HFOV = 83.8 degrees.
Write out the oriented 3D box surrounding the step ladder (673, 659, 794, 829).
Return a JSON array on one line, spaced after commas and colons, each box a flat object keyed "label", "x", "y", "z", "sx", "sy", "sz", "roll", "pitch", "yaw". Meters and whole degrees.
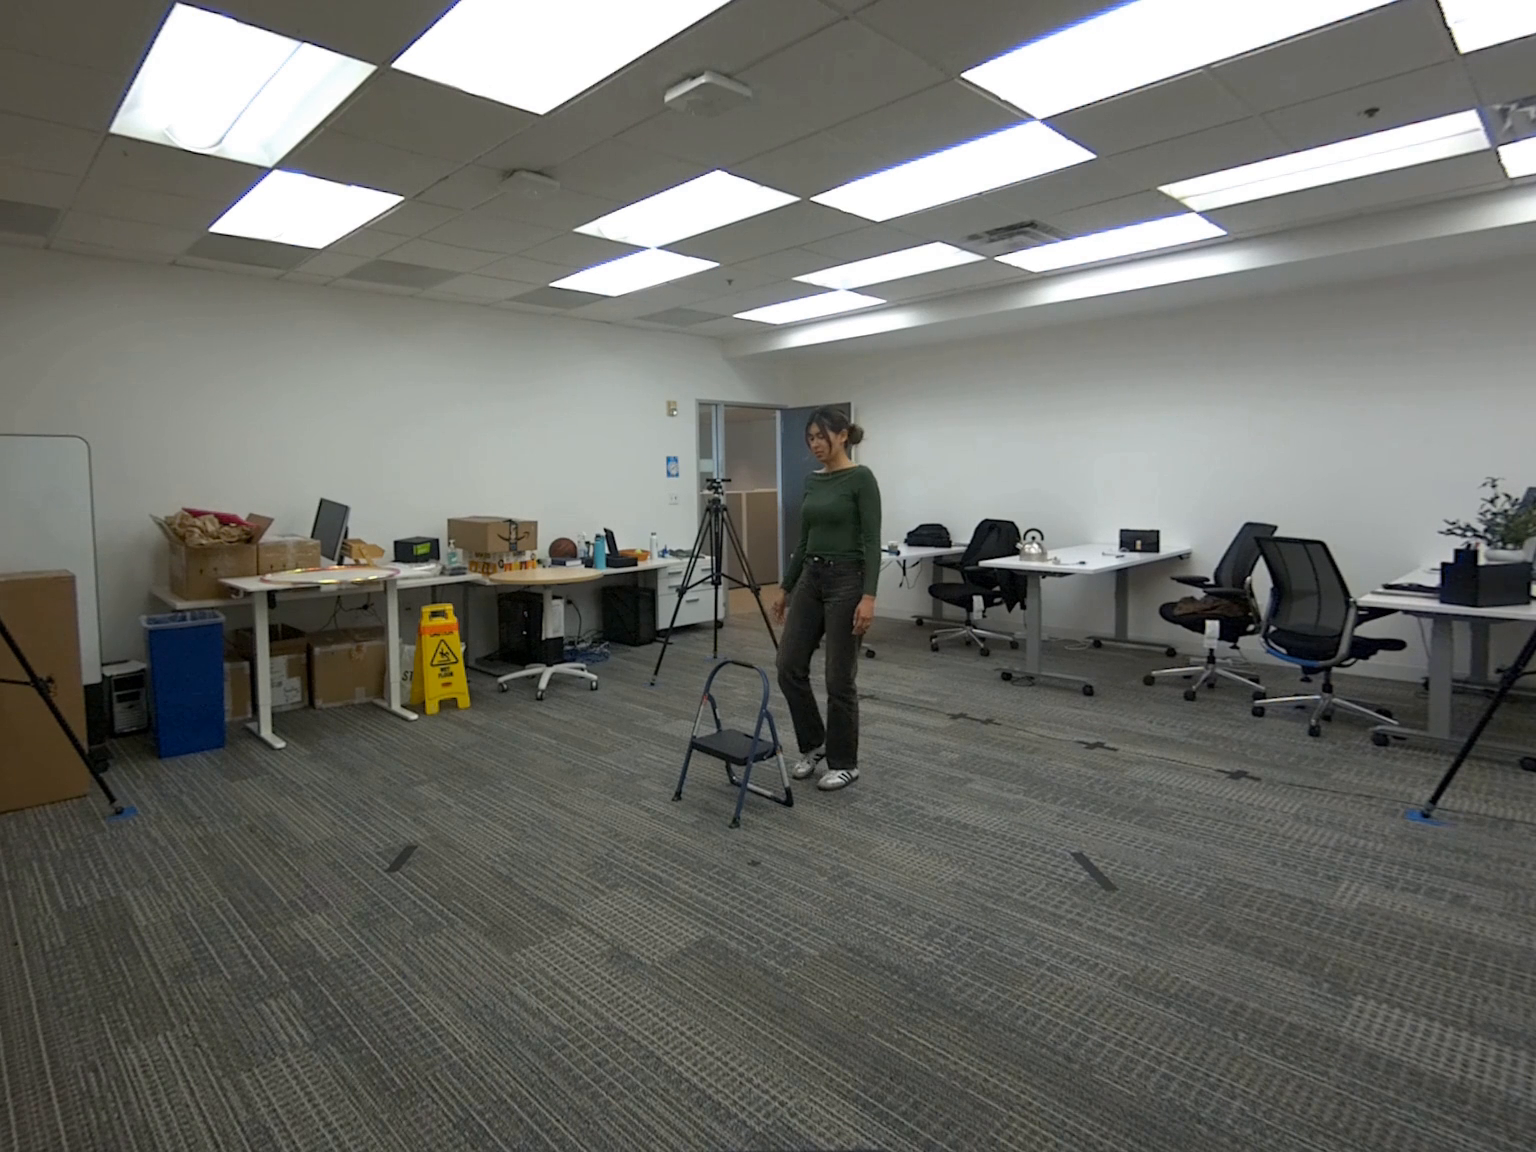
[{"label": "step ladder", "x": -0.158, "y": 0.678, "z": 3.669, "sx": 0.340, "sy": 0.604, "sz": 0.444, "roll": -4, "pitch": 5, "yaw": -41}]
